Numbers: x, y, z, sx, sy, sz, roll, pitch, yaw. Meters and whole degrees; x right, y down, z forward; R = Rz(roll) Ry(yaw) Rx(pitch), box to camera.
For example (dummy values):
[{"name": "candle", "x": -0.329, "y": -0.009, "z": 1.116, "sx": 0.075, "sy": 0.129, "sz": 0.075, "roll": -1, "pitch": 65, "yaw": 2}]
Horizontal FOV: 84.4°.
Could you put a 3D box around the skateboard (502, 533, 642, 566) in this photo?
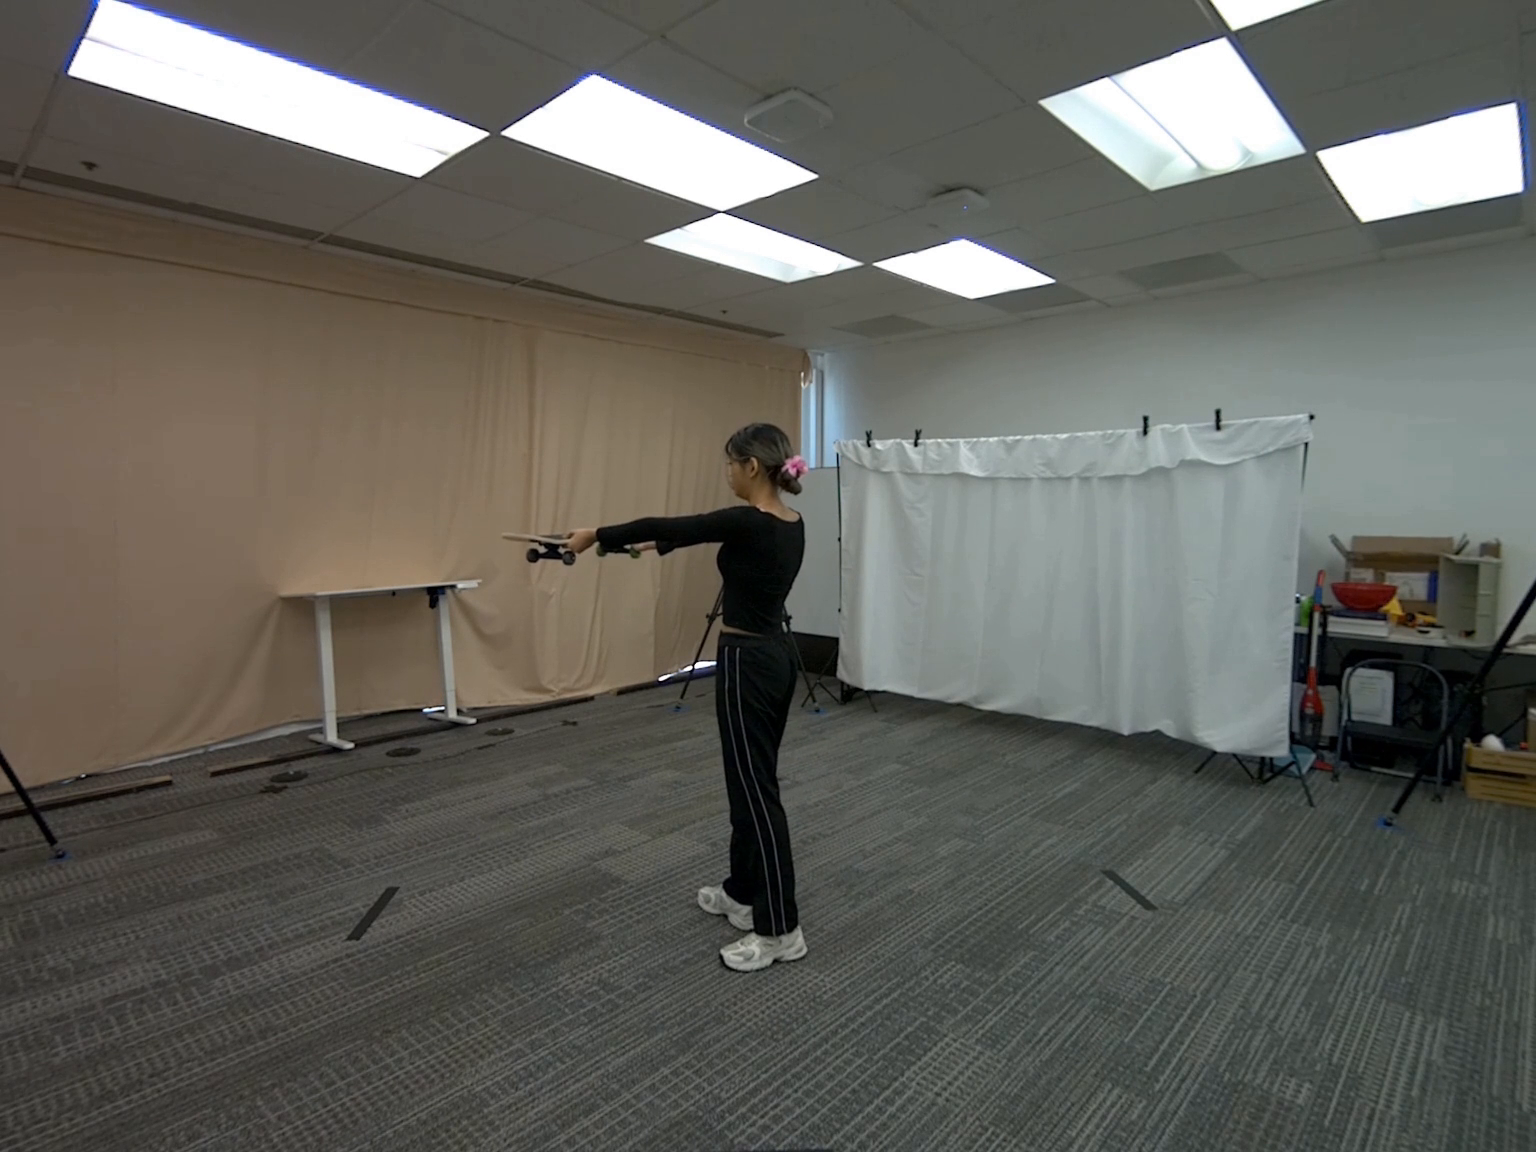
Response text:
[{"name": "skateboard", "x": -0.639, "y": -0.109, "z": 2.993, "sx": 0.199, "sy": 0.110, "sz": 0.766, "roll": 3, "pitch": 6, "yaw": 28}]
